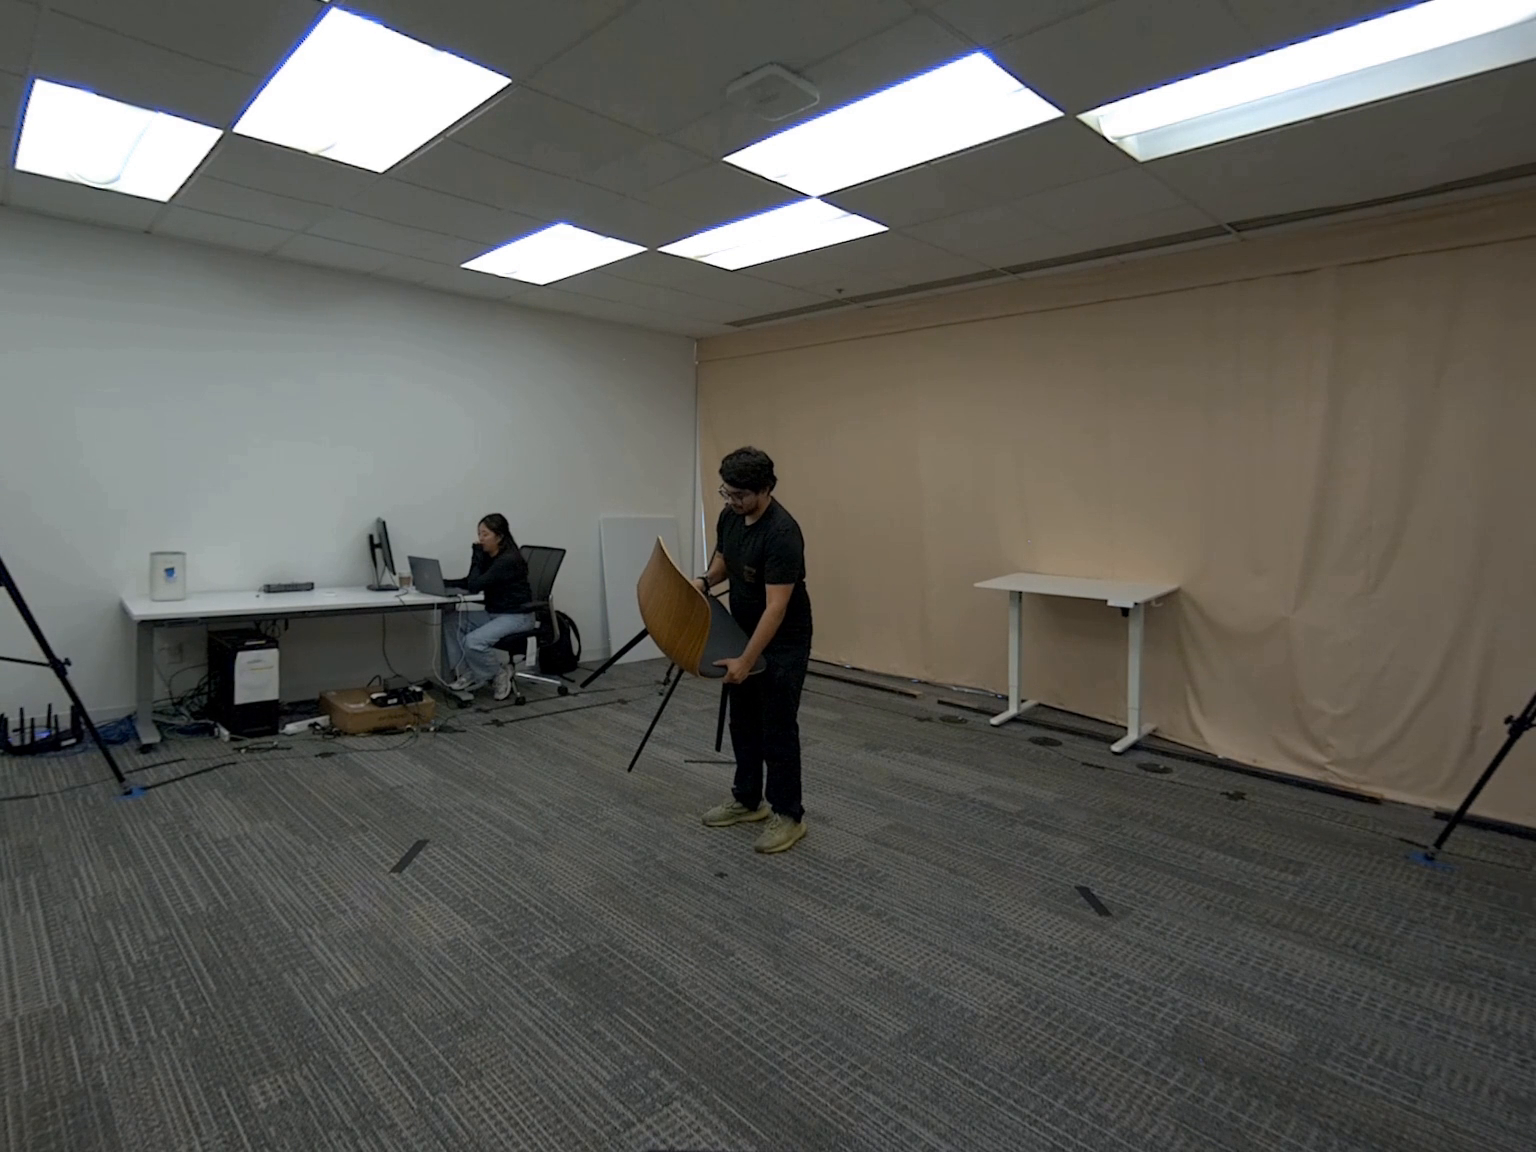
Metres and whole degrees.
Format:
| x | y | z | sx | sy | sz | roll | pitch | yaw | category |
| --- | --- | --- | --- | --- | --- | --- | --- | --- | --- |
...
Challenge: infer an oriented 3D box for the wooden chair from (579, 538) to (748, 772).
| x | y | z | sx | sy | sz | roll | pitch | yaw | category |
| --- | --- | --- | --- | --- | --- | --- | --- | --- | --- |
| -0.307 | 0.263 | 3.231 | 0.512 | 0.869 | 0.493 | -5 | 42 | -40 | wooden chair |
